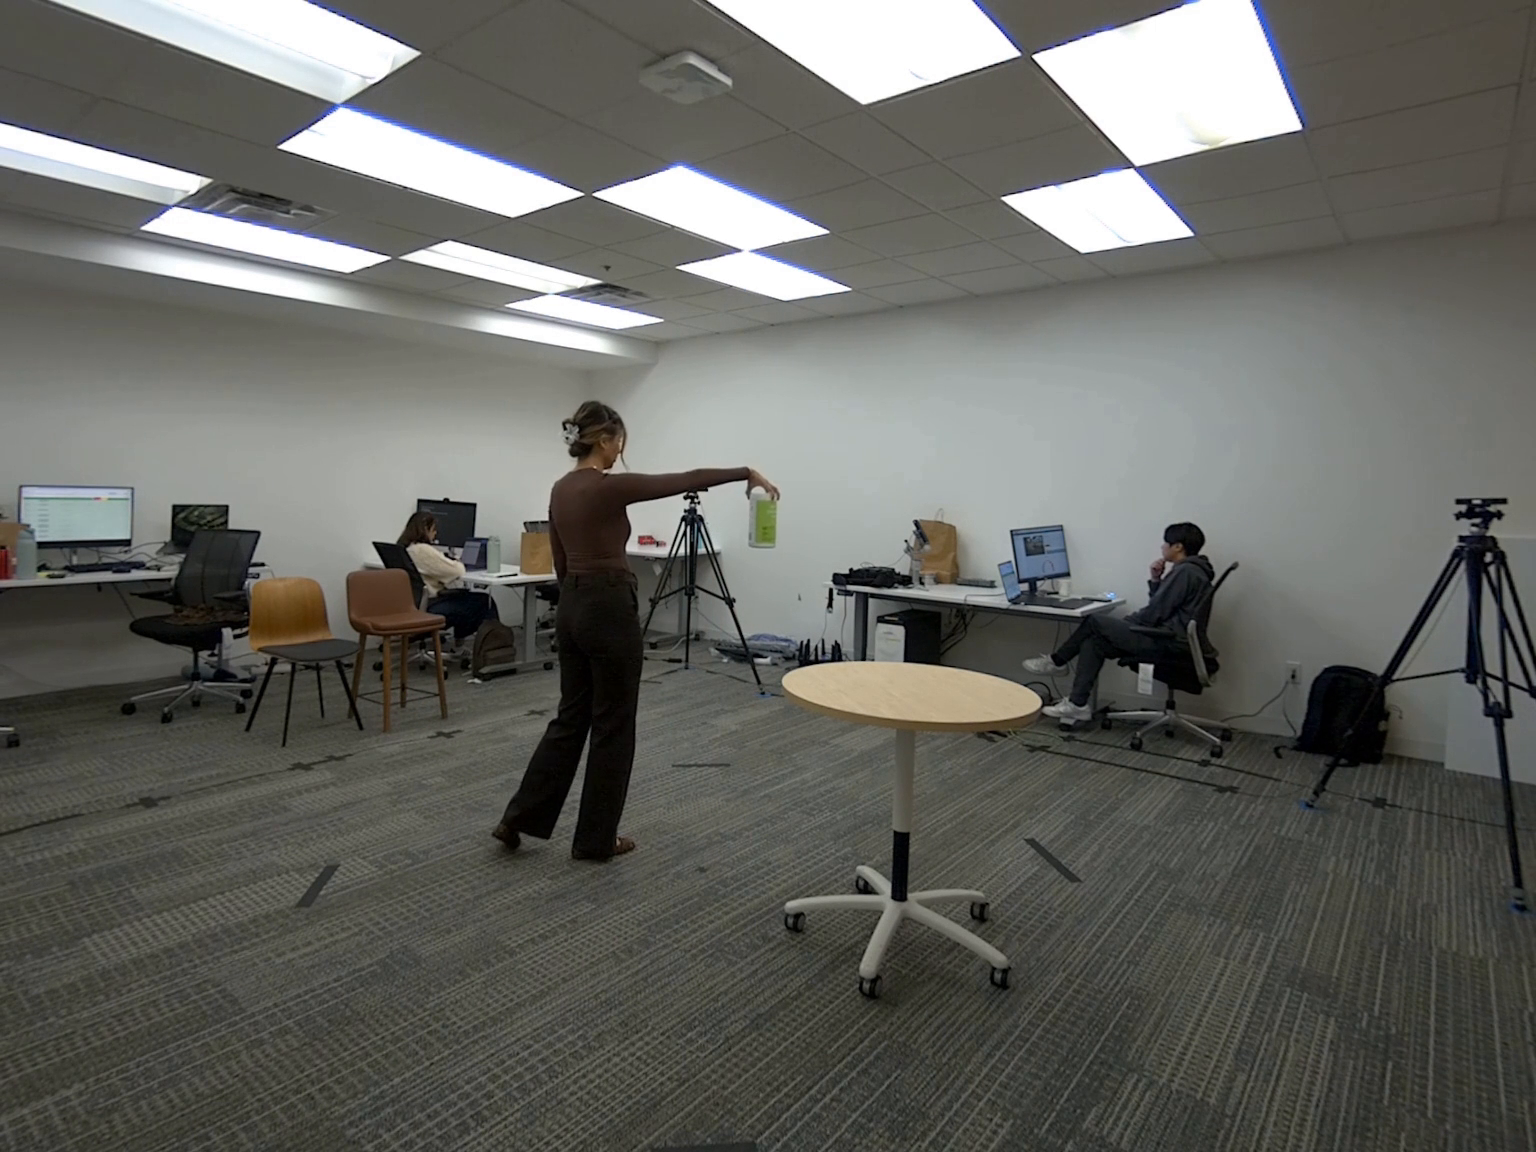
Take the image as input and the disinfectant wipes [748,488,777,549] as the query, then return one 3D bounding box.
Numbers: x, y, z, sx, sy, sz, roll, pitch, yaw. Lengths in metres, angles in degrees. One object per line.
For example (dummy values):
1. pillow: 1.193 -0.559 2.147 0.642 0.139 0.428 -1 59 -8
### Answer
1. disinfectant wipes: -0.037 -0.223 3.362 0.117 0.216 0.118 2 5 -2
